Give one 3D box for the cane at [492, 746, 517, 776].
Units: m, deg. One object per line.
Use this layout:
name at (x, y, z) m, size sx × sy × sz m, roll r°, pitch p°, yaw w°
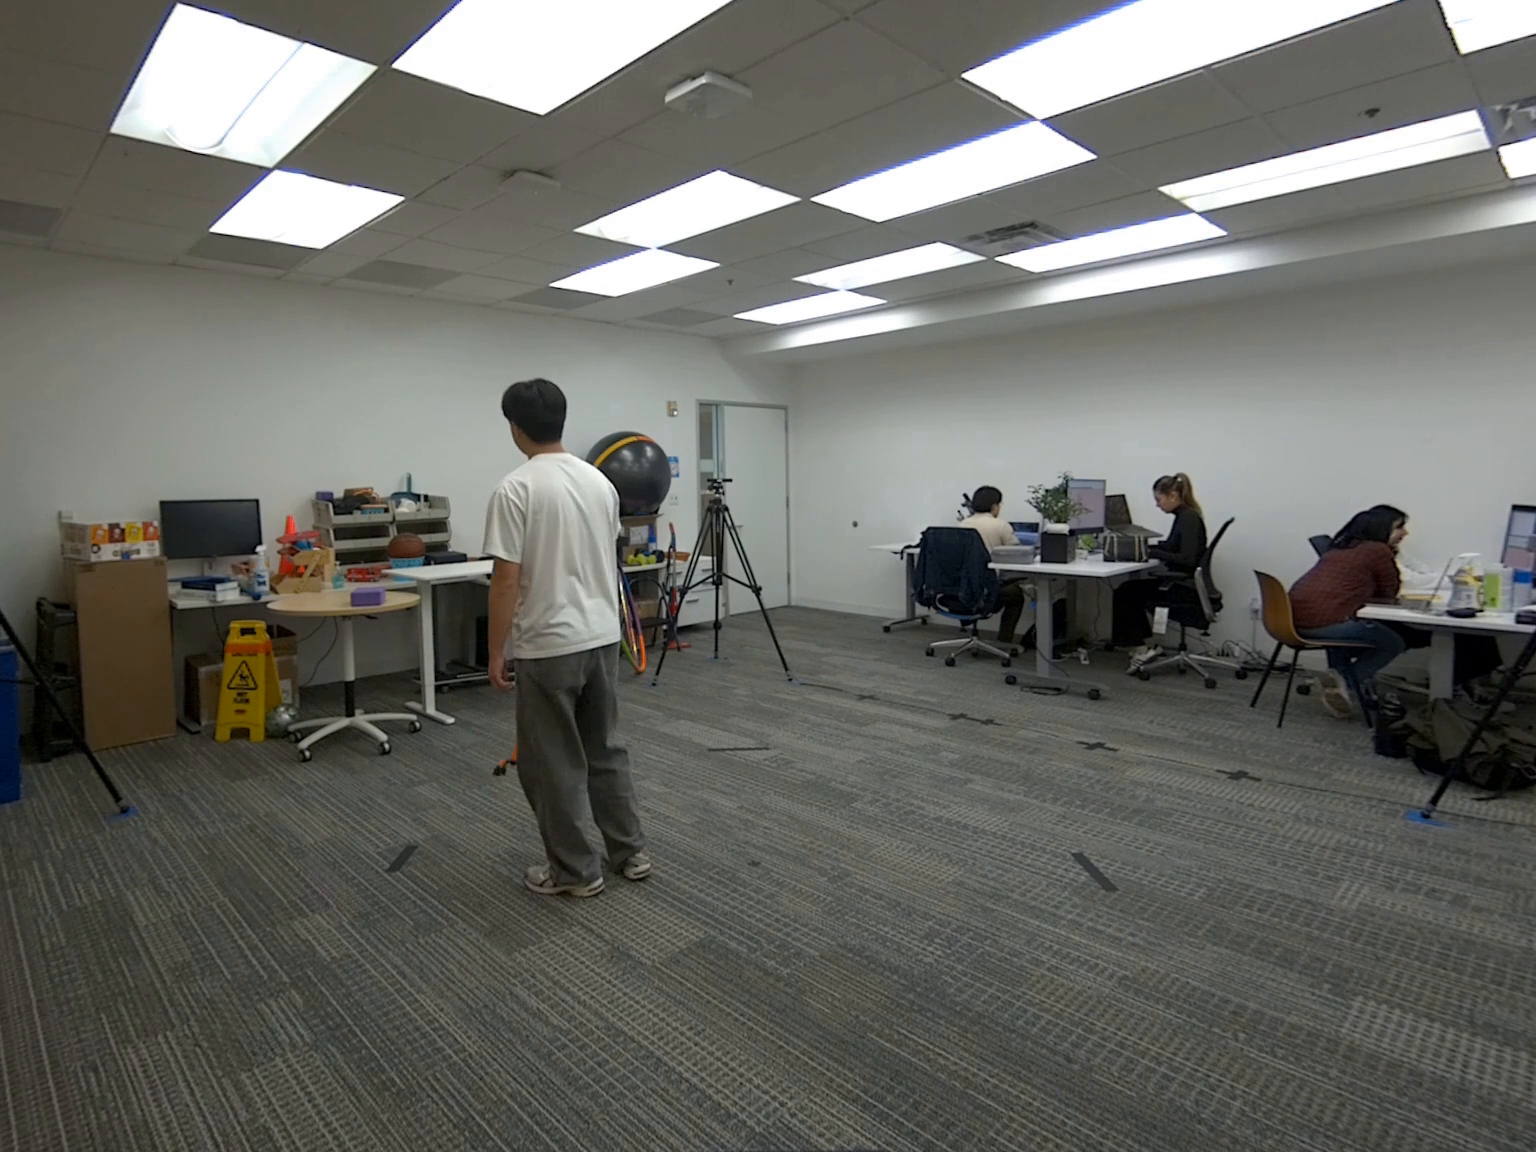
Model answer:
cane at (-0.868, 0.331, 3.323) m, size 0.148 × 0.918 × 0.208 m, roll 13°, pitch -16°, yaw -20°
